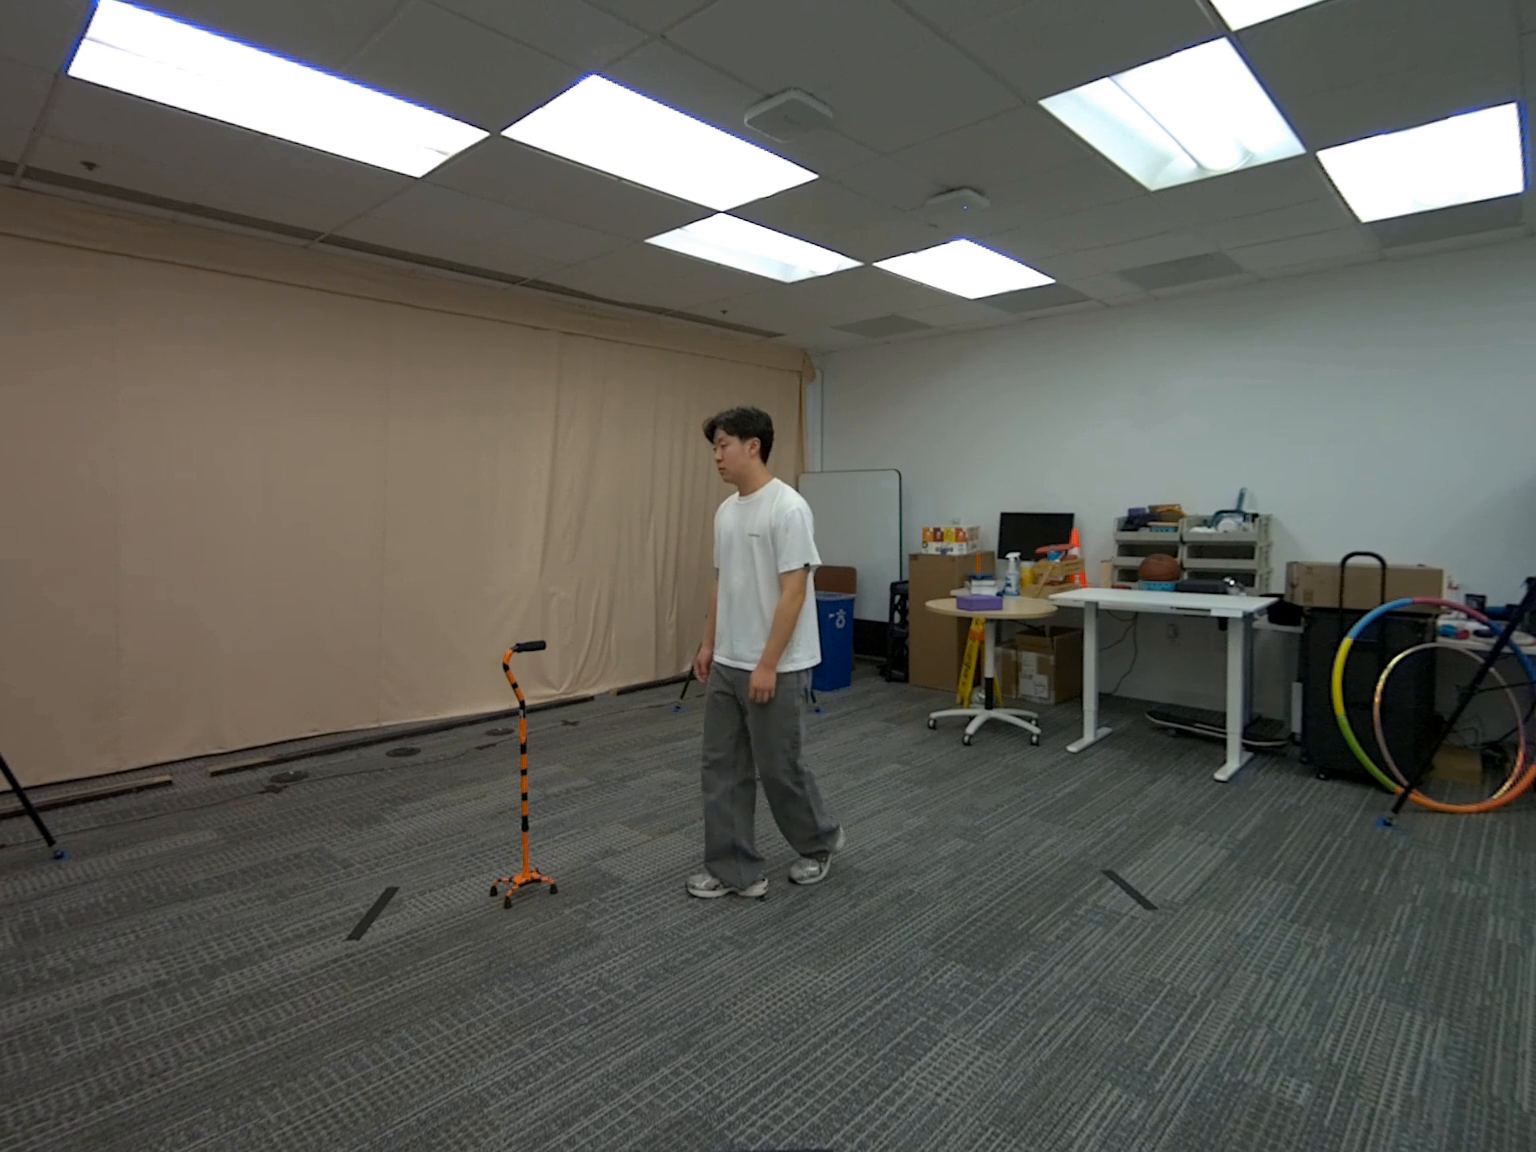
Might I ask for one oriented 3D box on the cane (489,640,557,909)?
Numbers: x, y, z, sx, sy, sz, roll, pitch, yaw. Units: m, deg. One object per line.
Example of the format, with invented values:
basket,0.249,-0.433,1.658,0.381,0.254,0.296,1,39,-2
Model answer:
cane,-0.884,0.700,3.020,0.200,0.907,0.156,-2,2,-38
